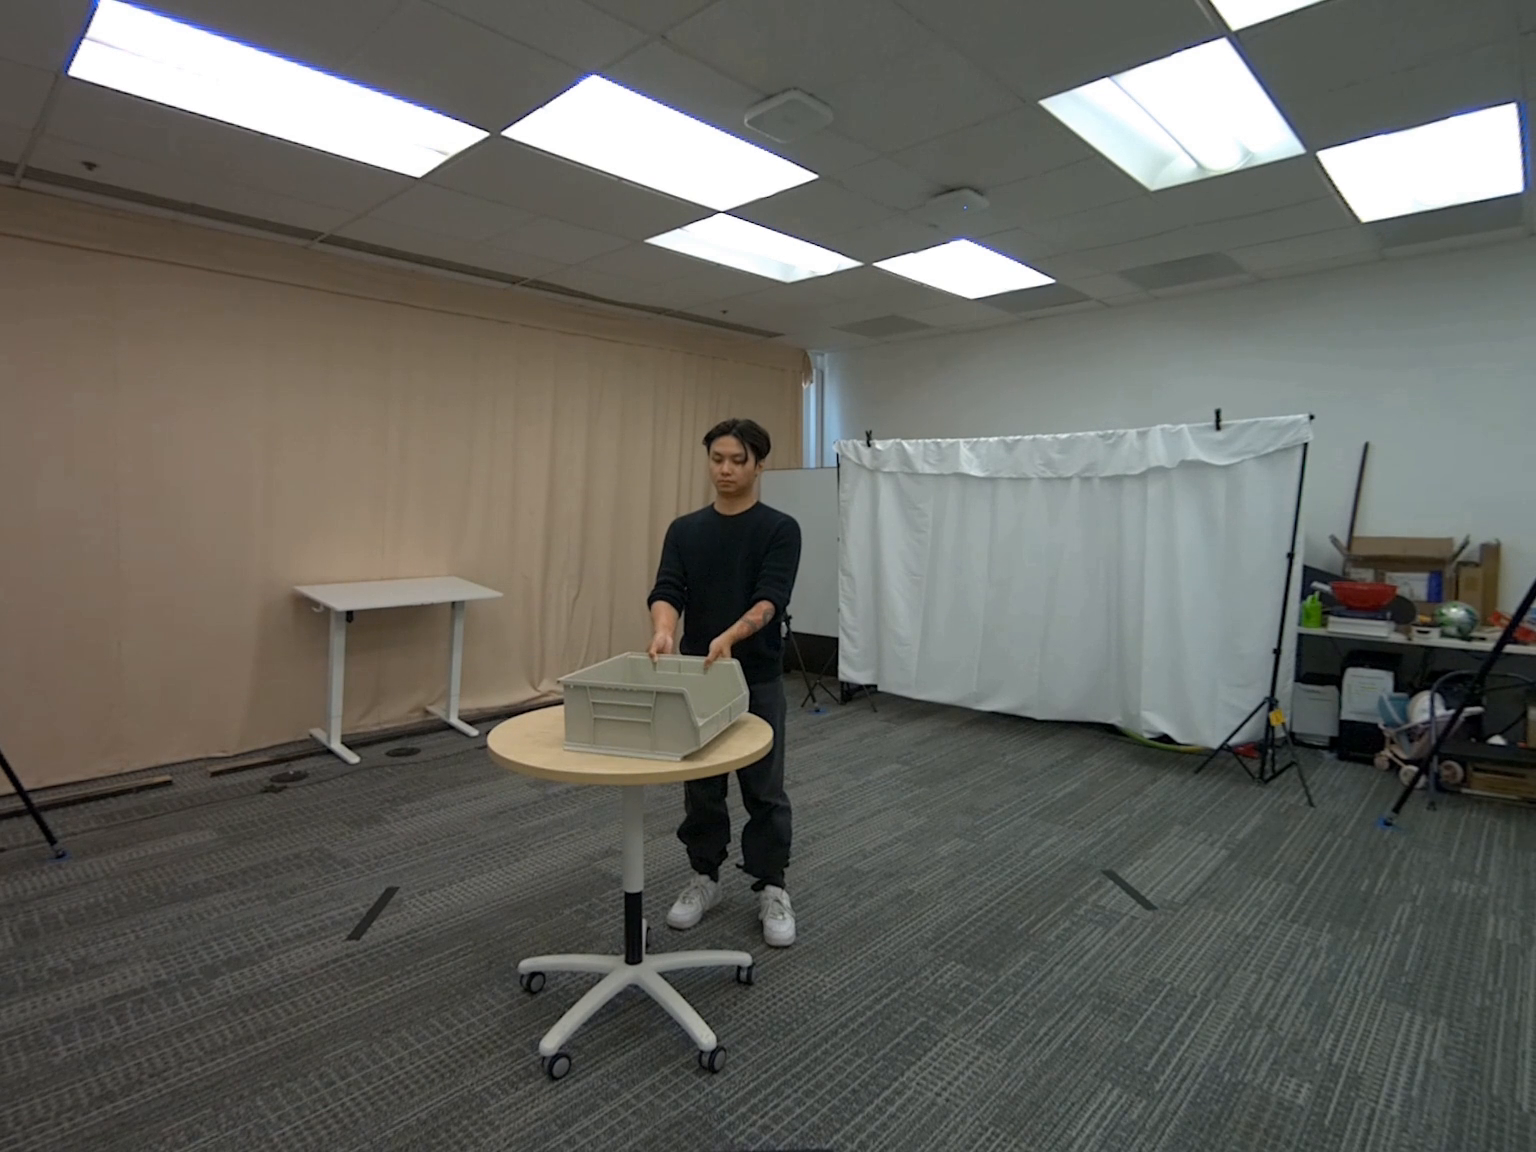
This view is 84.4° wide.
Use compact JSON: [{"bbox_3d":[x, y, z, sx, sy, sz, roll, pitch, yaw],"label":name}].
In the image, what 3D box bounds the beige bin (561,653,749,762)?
[{"bbox_3d":[-0.293,0.328,2.229,0.384,0.188,0.415,-1,4,16],"label":"beige bin"}]
